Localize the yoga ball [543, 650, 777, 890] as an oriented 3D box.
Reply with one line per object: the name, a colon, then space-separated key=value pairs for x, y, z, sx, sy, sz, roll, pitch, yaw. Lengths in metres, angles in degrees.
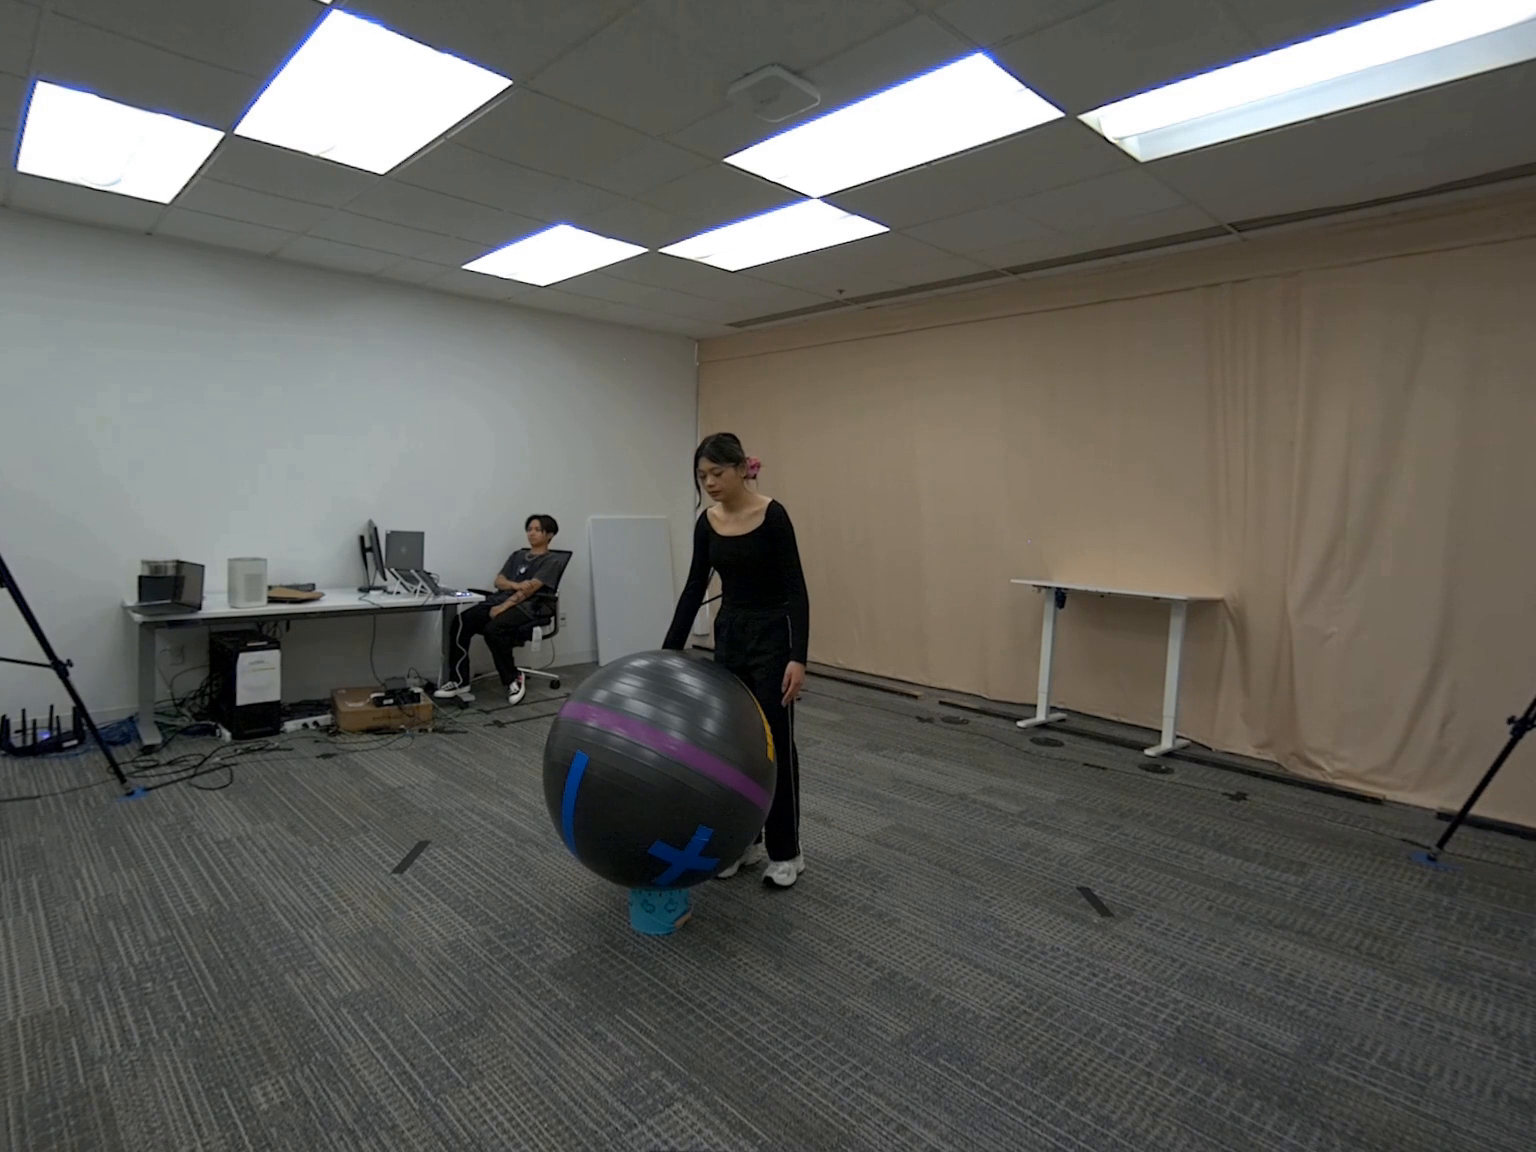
yoga ball: x=-0.355 y=0.629 z=2.740 sx=0.757 sy=0.756 sz=0.761 roll=1 pitch=4 yaw=-1
